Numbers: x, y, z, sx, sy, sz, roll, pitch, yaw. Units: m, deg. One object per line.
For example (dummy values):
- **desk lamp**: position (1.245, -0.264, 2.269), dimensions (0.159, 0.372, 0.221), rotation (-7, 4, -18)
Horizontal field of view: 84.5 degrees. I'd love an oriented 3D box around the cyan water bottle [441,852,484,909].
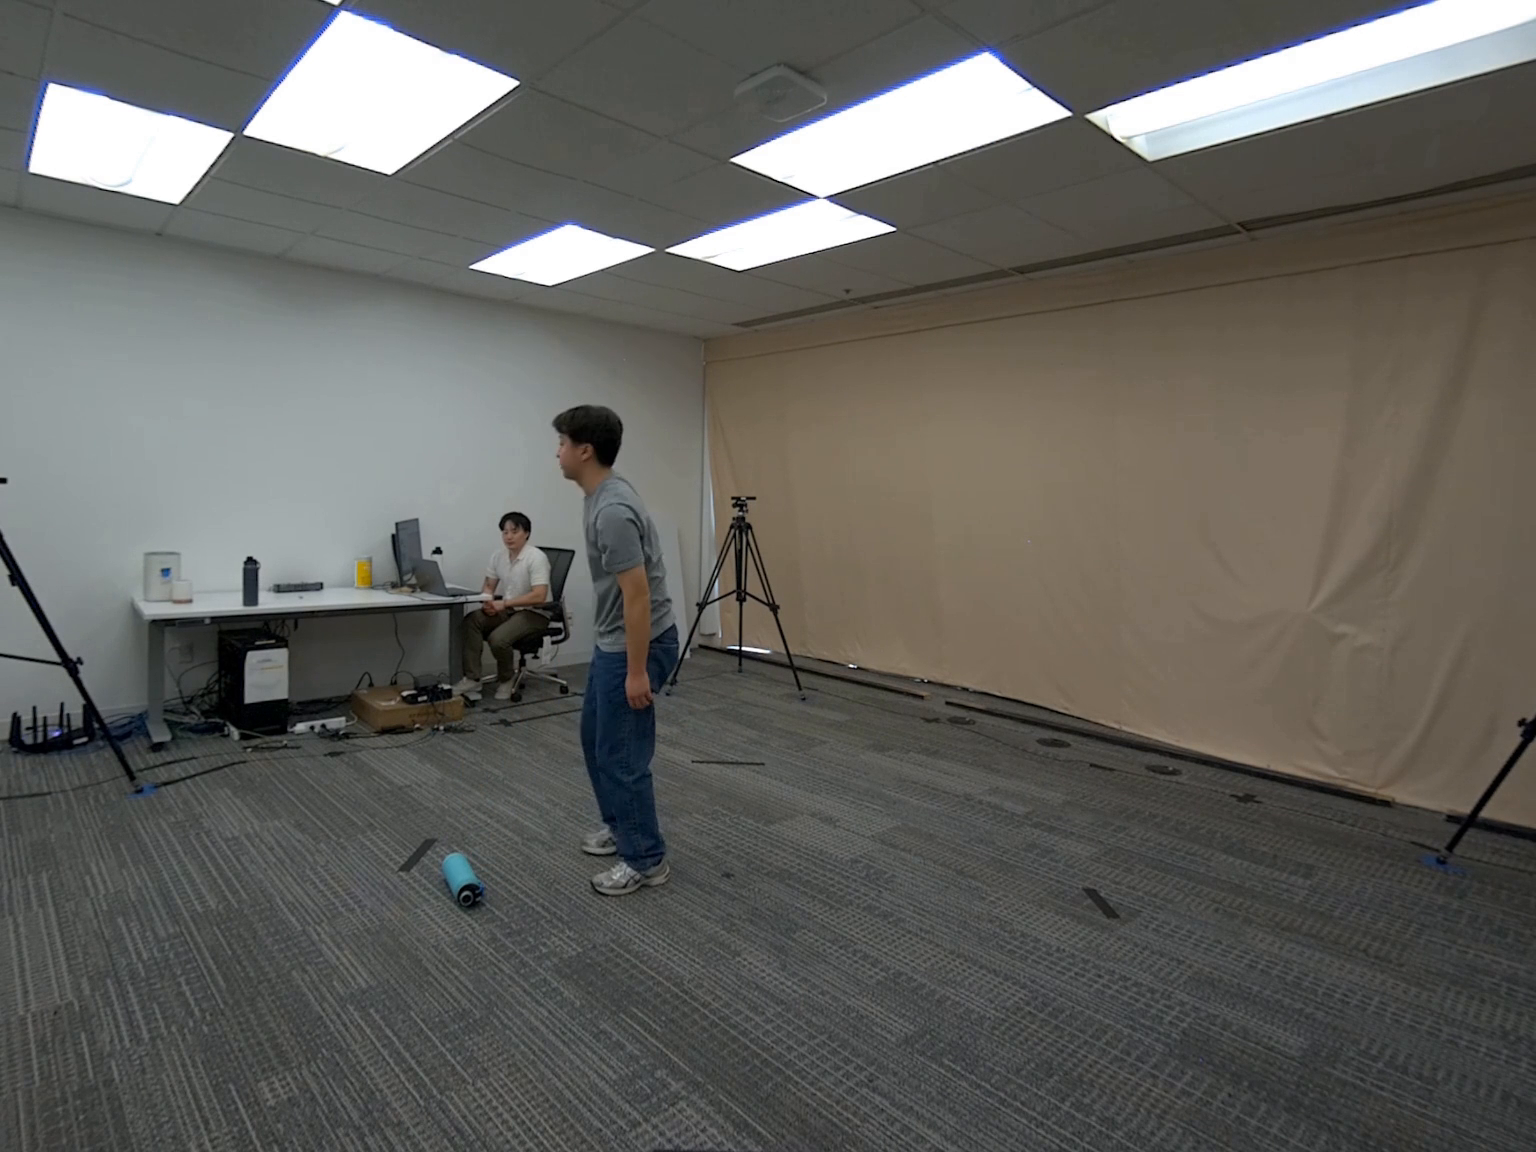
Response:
- **cyan water bottle**: position (-1.068, 1.057, 2.912), dimensions (0.090, 0.092, 0.290), rotation (-1, 6, -32)
